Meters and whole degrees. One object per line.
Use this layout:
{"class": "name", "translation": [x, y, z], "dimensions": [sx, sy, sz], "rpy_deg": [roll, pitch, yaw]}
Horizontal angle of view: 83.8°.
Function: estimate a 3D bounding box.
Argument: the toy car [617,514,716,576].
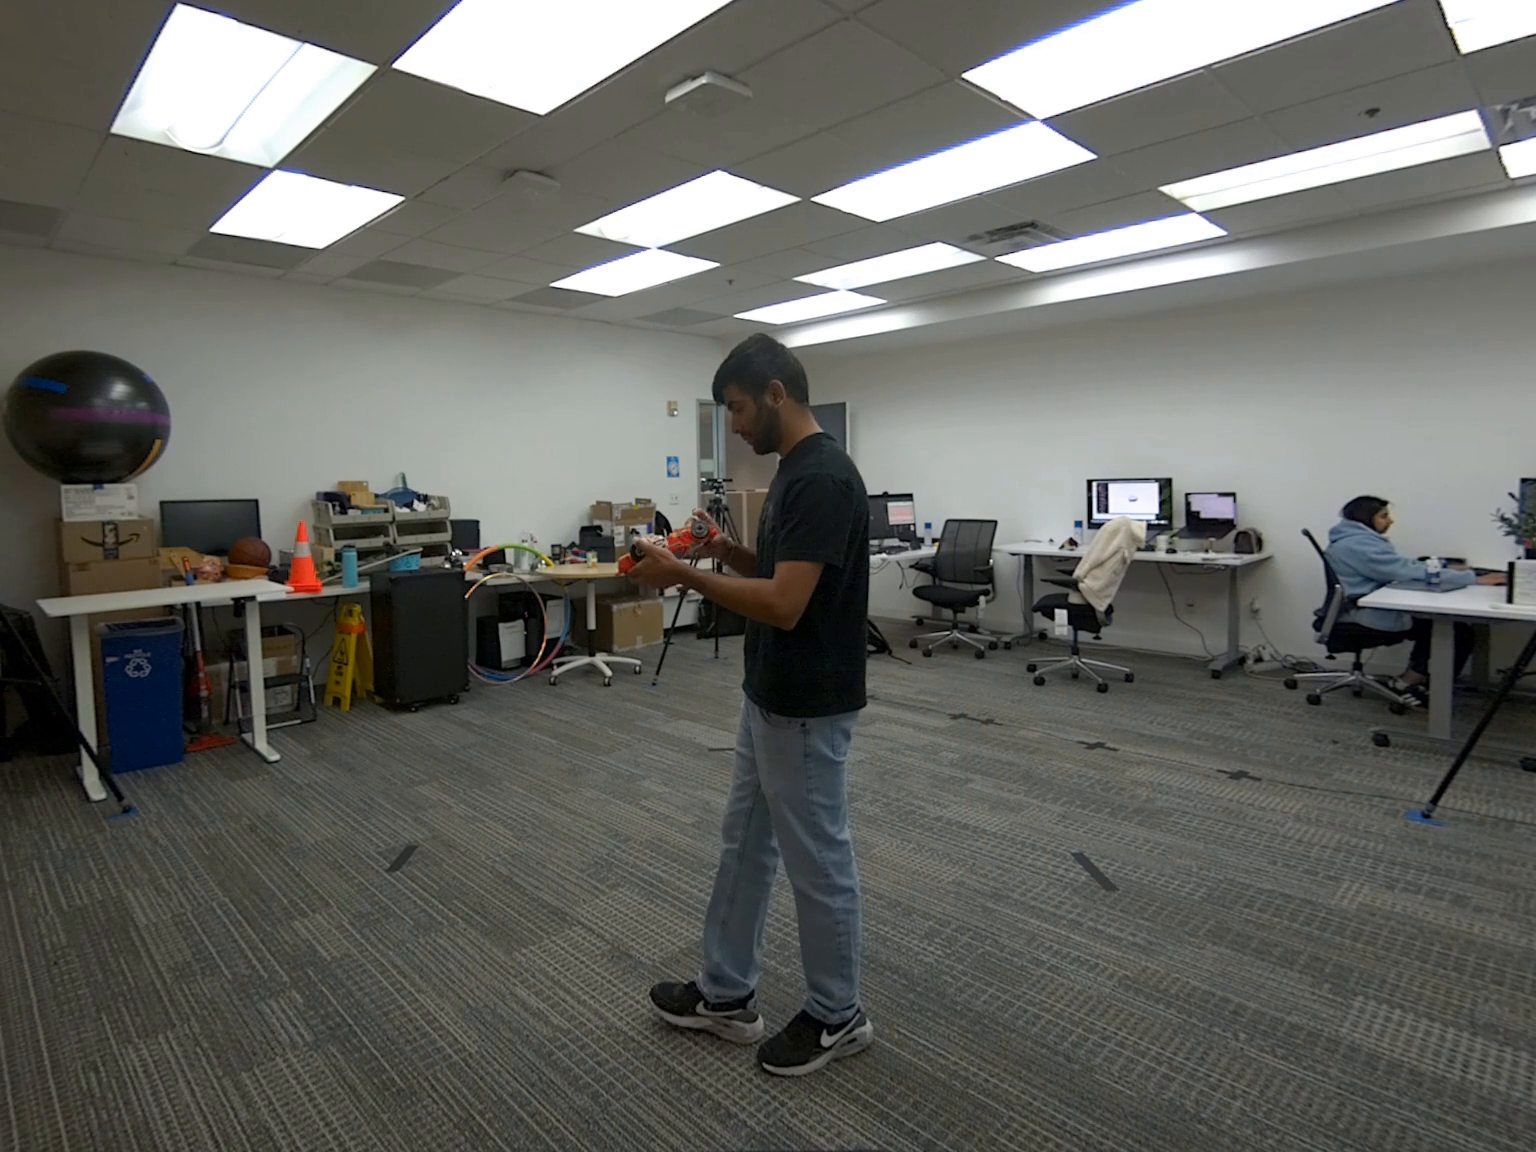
{"class": "toy car", "translation": [-0.240, -0.062, 1.976], "dimensions": [0.254, 0.083, 0.130], "rpy_deg": [-30, 0, -6]}
